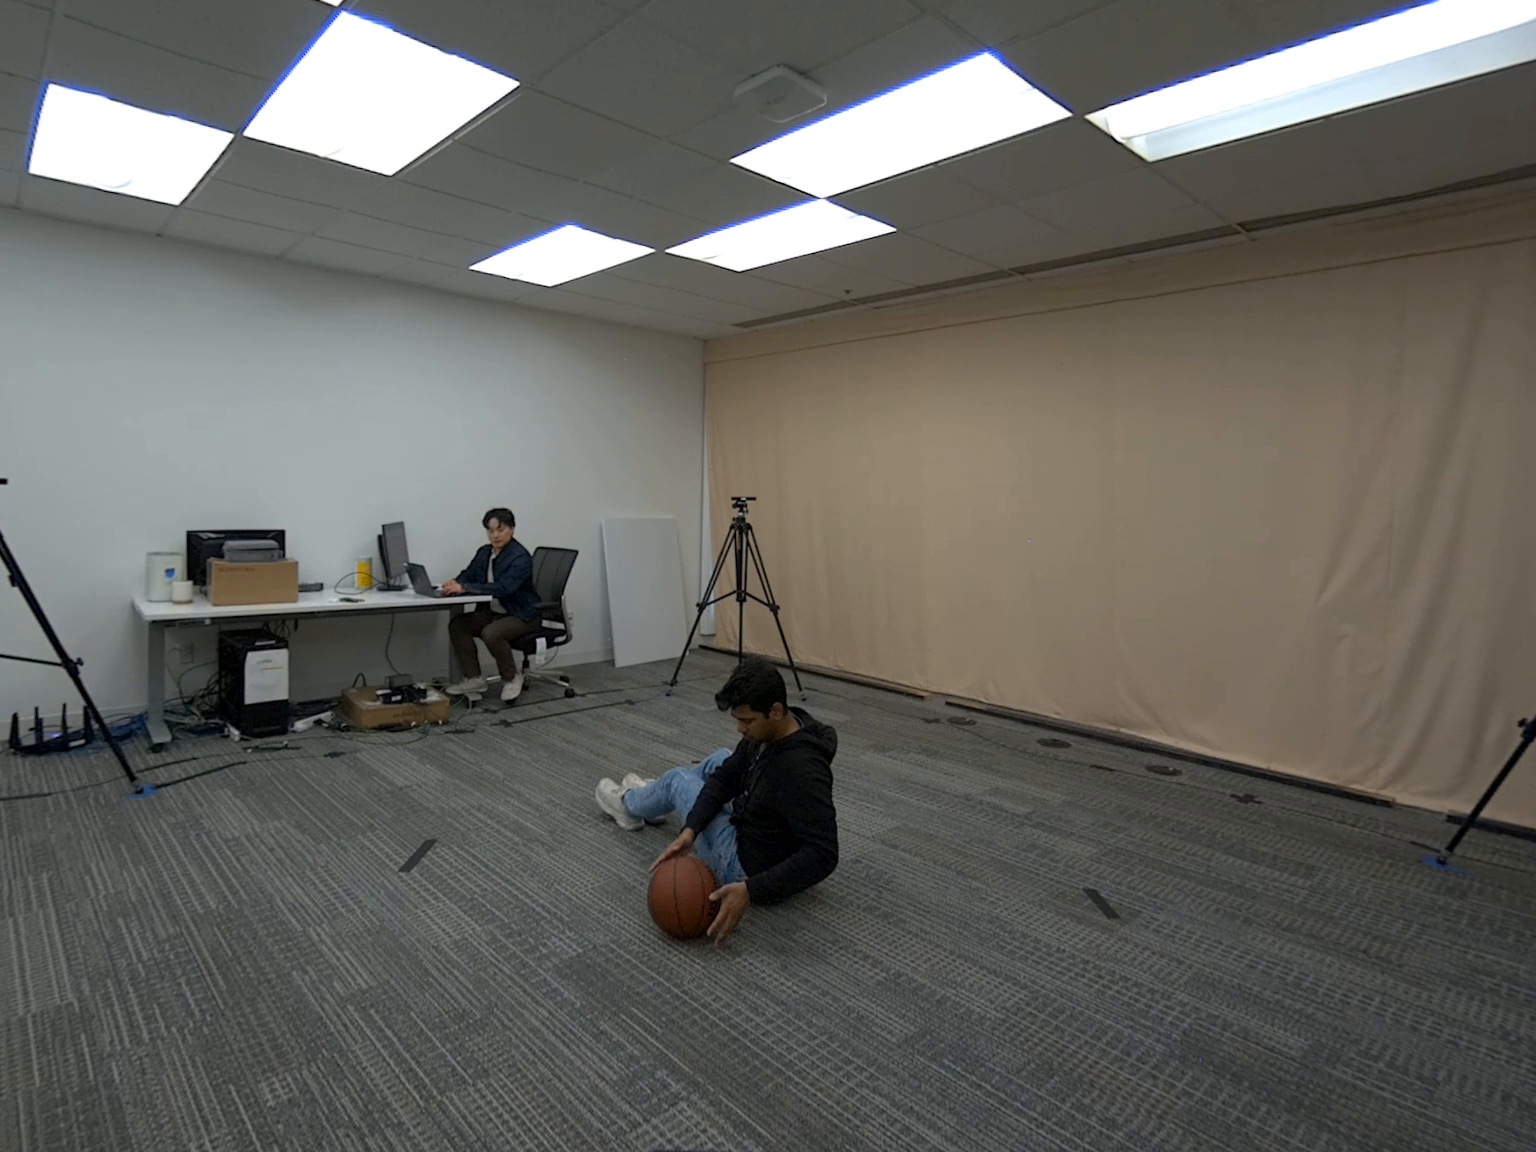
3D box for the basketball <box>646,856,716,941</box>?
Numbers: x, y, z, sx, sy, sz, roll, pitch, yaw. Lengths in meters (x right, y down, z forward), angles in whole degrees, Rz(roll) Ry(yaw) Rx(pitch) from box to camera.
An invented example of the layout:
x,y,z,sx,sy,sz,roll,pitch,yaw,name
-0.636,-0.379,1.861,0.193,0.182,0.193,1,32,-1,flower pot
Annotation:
x,y,z,sx,sy,sz,roll,pitch,yaw,name
-0.273,1.020,2.682,0.236,0.235,0.237,1,4,-1,basketball
